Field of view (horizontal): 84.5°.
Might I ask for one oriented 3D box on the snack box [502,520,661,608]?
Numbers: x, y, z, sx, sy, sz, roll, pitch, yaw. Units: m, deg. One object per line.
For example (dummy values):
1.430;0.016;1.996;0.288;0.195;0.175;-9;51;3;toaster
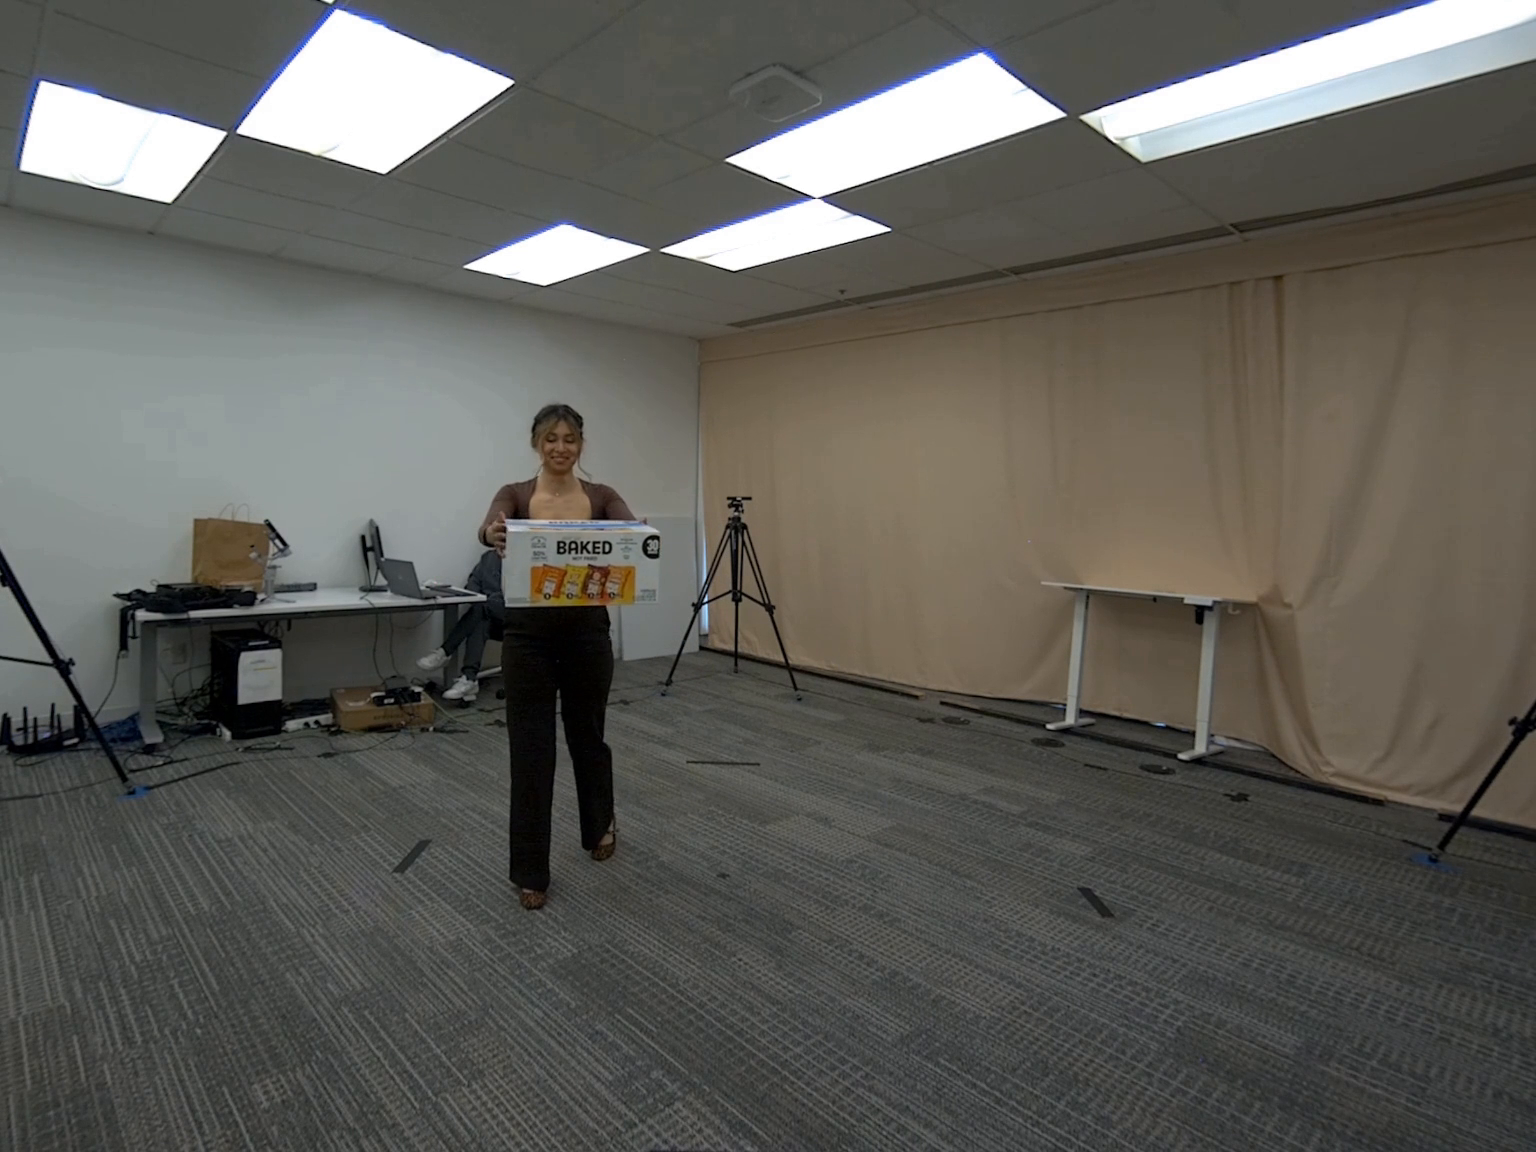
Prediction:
-0.545;-0.045;2.378;0.399;0.205;0.347;1;7;-19;snack box
